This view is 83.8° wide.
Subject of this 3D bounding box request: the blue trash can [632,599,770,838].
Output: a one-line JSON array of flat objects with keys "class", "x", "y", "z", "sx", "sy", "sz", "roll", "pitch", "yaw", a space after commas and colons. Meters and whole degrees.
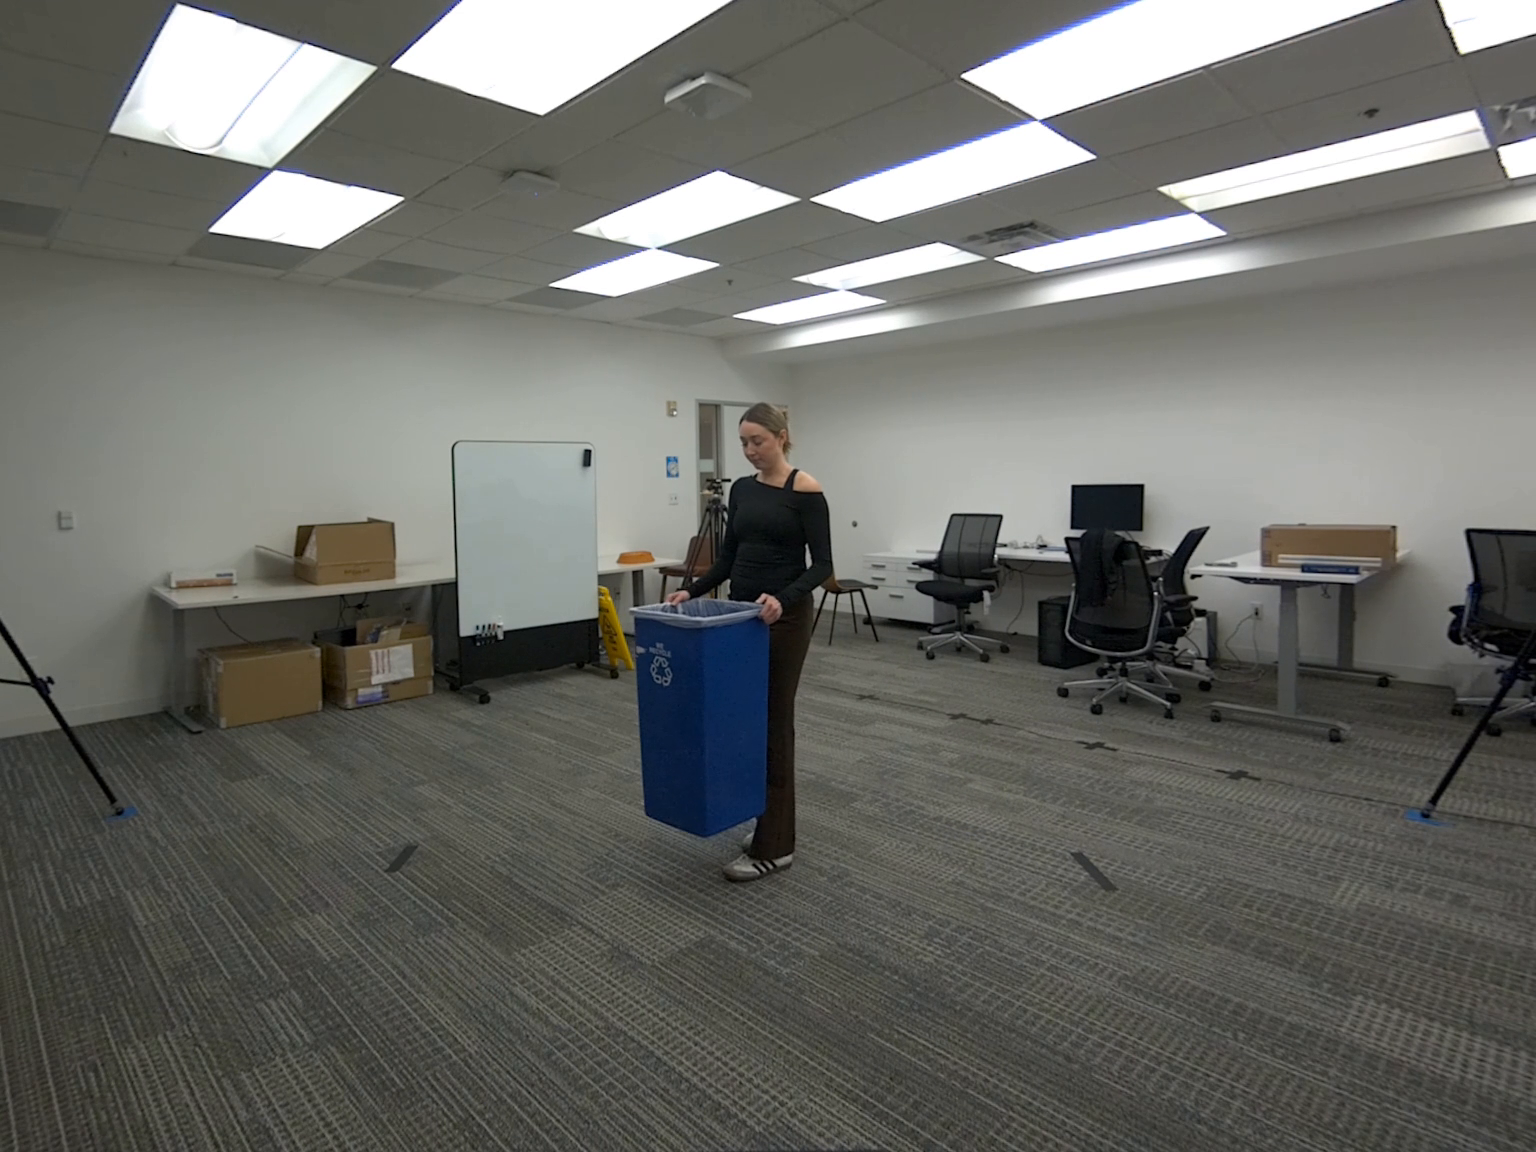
[{"class": "blue trash can", "x": -0.216, "y": 0.459, "z": 2.903, "sx": 0.385, "sy": 0.711, "sz": 0.368, "roll": 1, "pitch": 5, "yaw": 43}]
